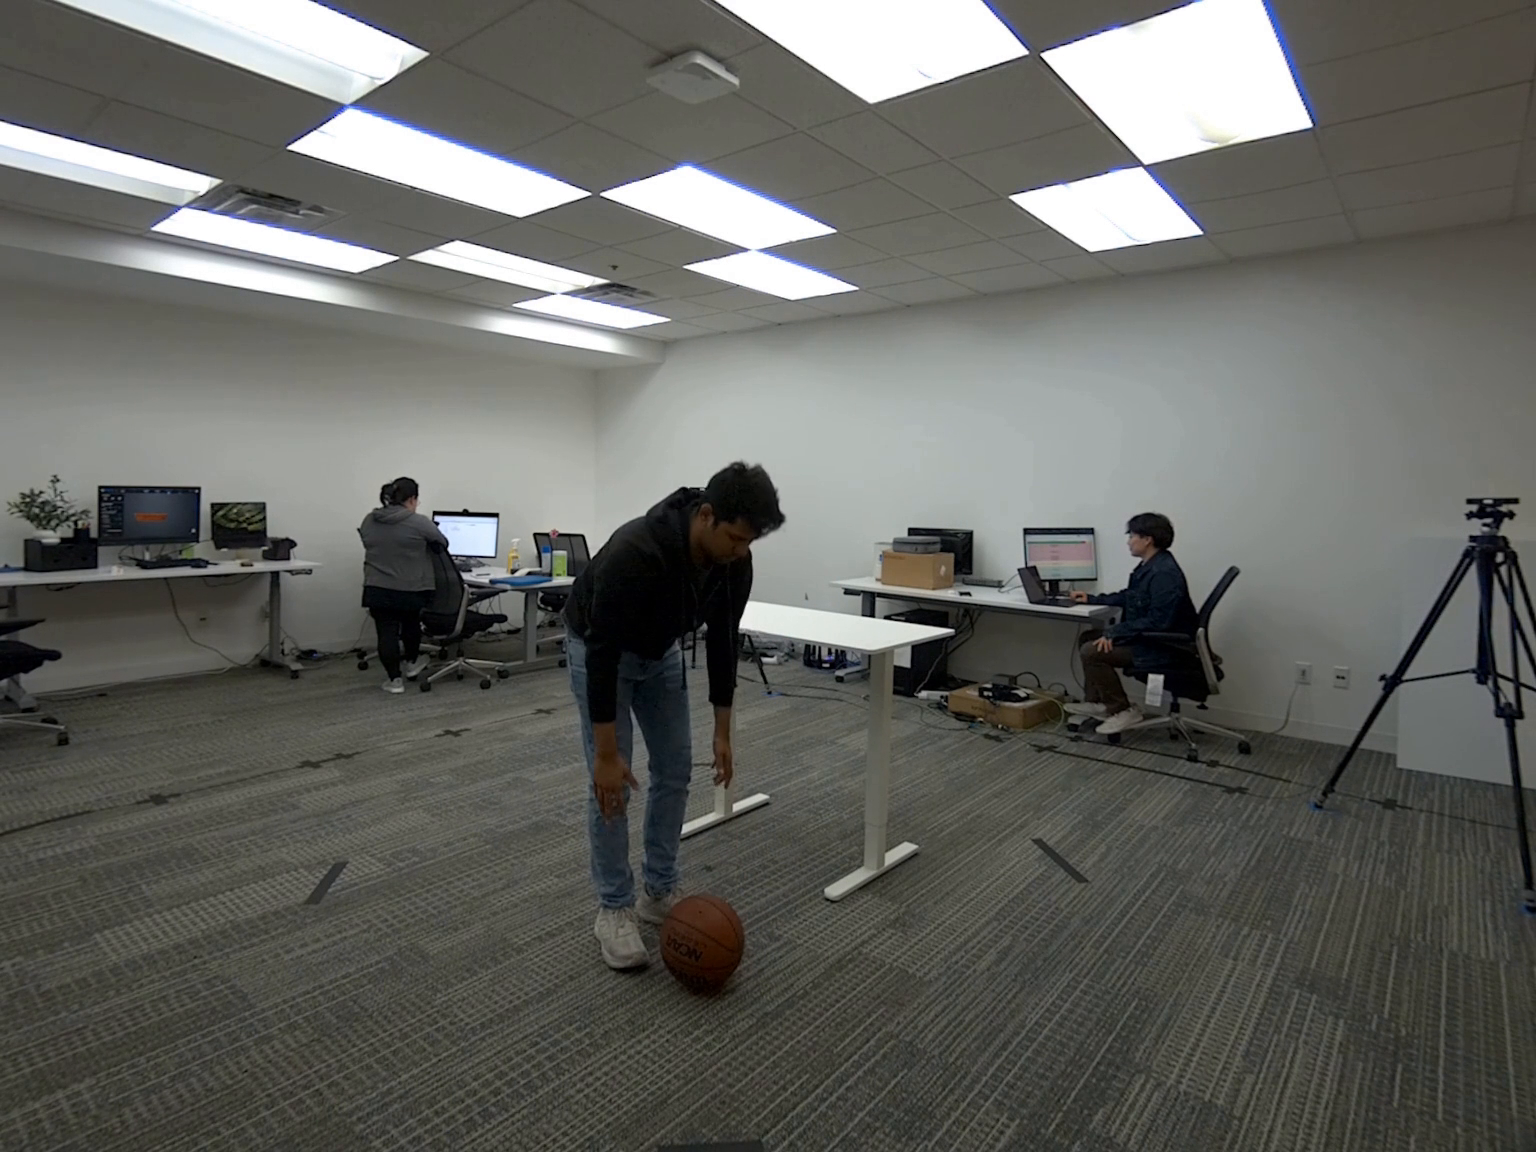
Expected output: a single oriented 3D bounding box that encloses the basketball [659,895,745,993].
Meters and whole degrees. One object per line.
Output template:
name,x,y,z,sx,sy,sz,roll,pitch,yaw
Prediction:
basketball,-0.191,1.016,2.387,0.235,0.235,0.237,1,4,-2
